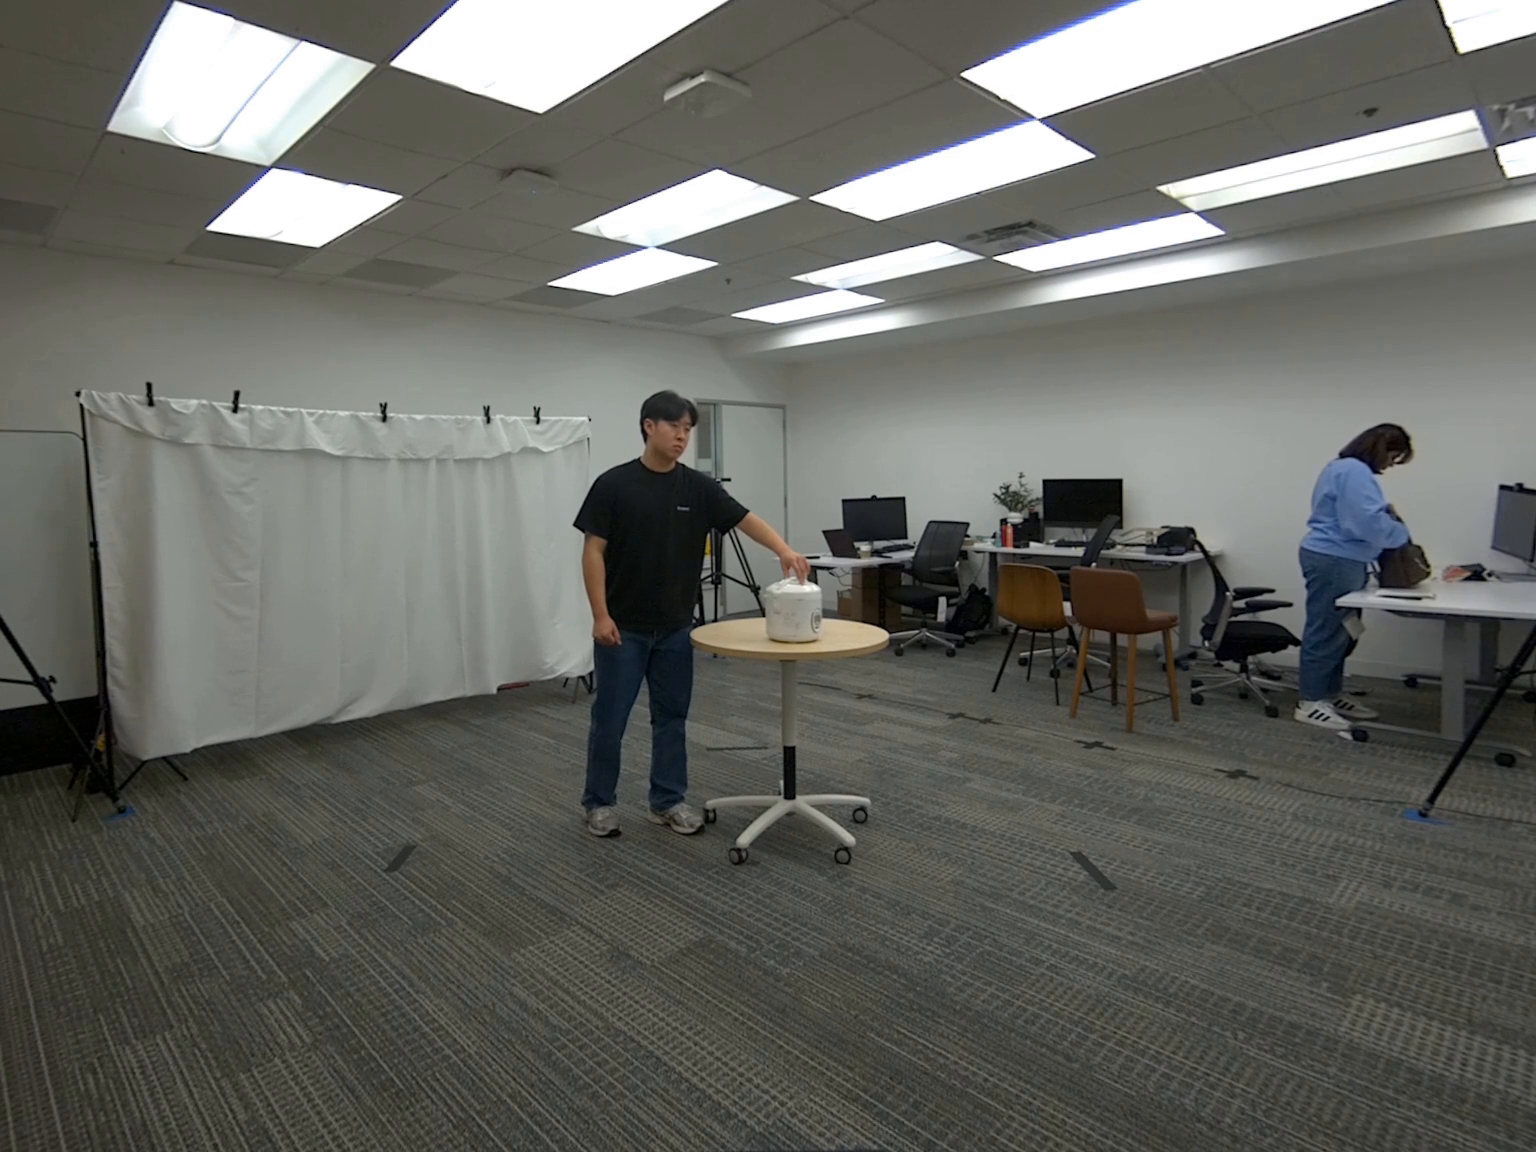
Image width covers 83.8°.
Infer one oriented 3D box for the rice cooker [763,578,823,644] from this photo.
[{"bbox_3d":[0.101,0.120,3.174,0.224,0.232,0.215,3,6,41],"label":"rice cooker"}]
